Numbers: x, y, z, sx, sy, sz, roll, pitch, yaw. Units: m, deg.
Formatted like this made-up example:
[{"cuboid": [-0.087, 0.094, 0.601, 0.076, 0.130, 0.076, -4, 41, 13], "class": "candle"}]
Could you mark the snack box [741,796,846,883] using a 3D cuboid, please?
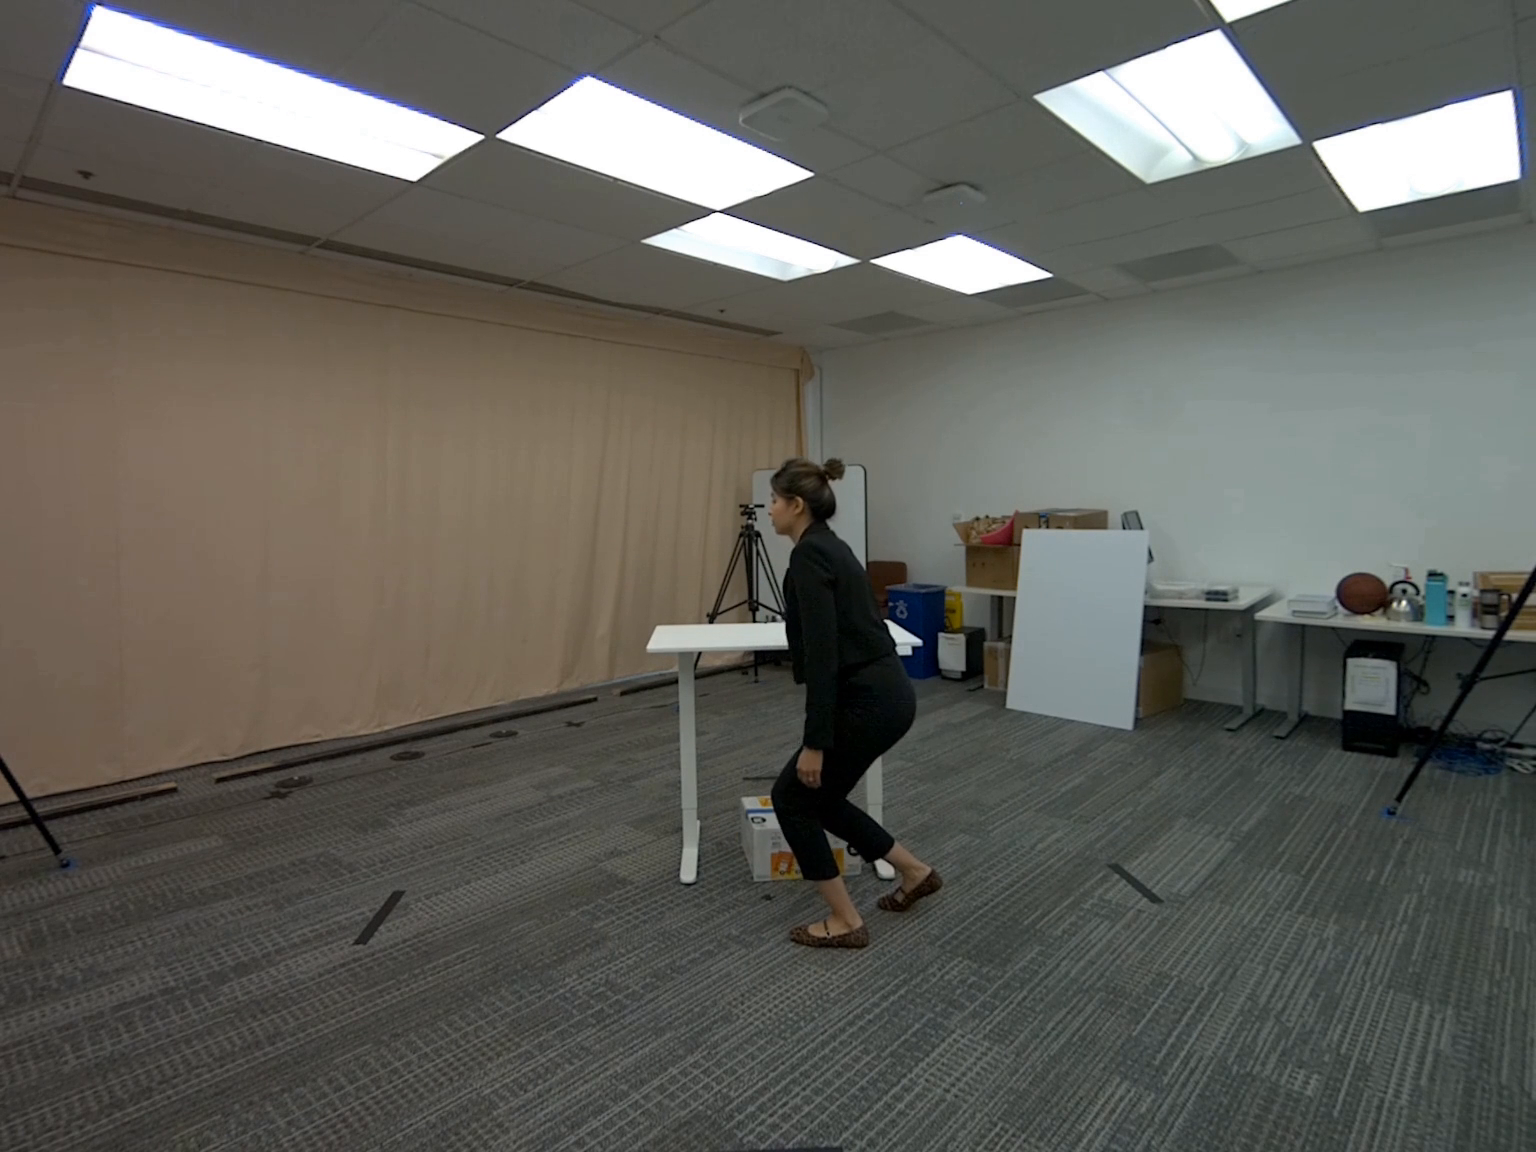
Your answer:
[{"cuboid": [0.120, 1.010, 3.274, 0.402, 0.205, 0.344, -1, 4, -9], "class": "snack box"}]
